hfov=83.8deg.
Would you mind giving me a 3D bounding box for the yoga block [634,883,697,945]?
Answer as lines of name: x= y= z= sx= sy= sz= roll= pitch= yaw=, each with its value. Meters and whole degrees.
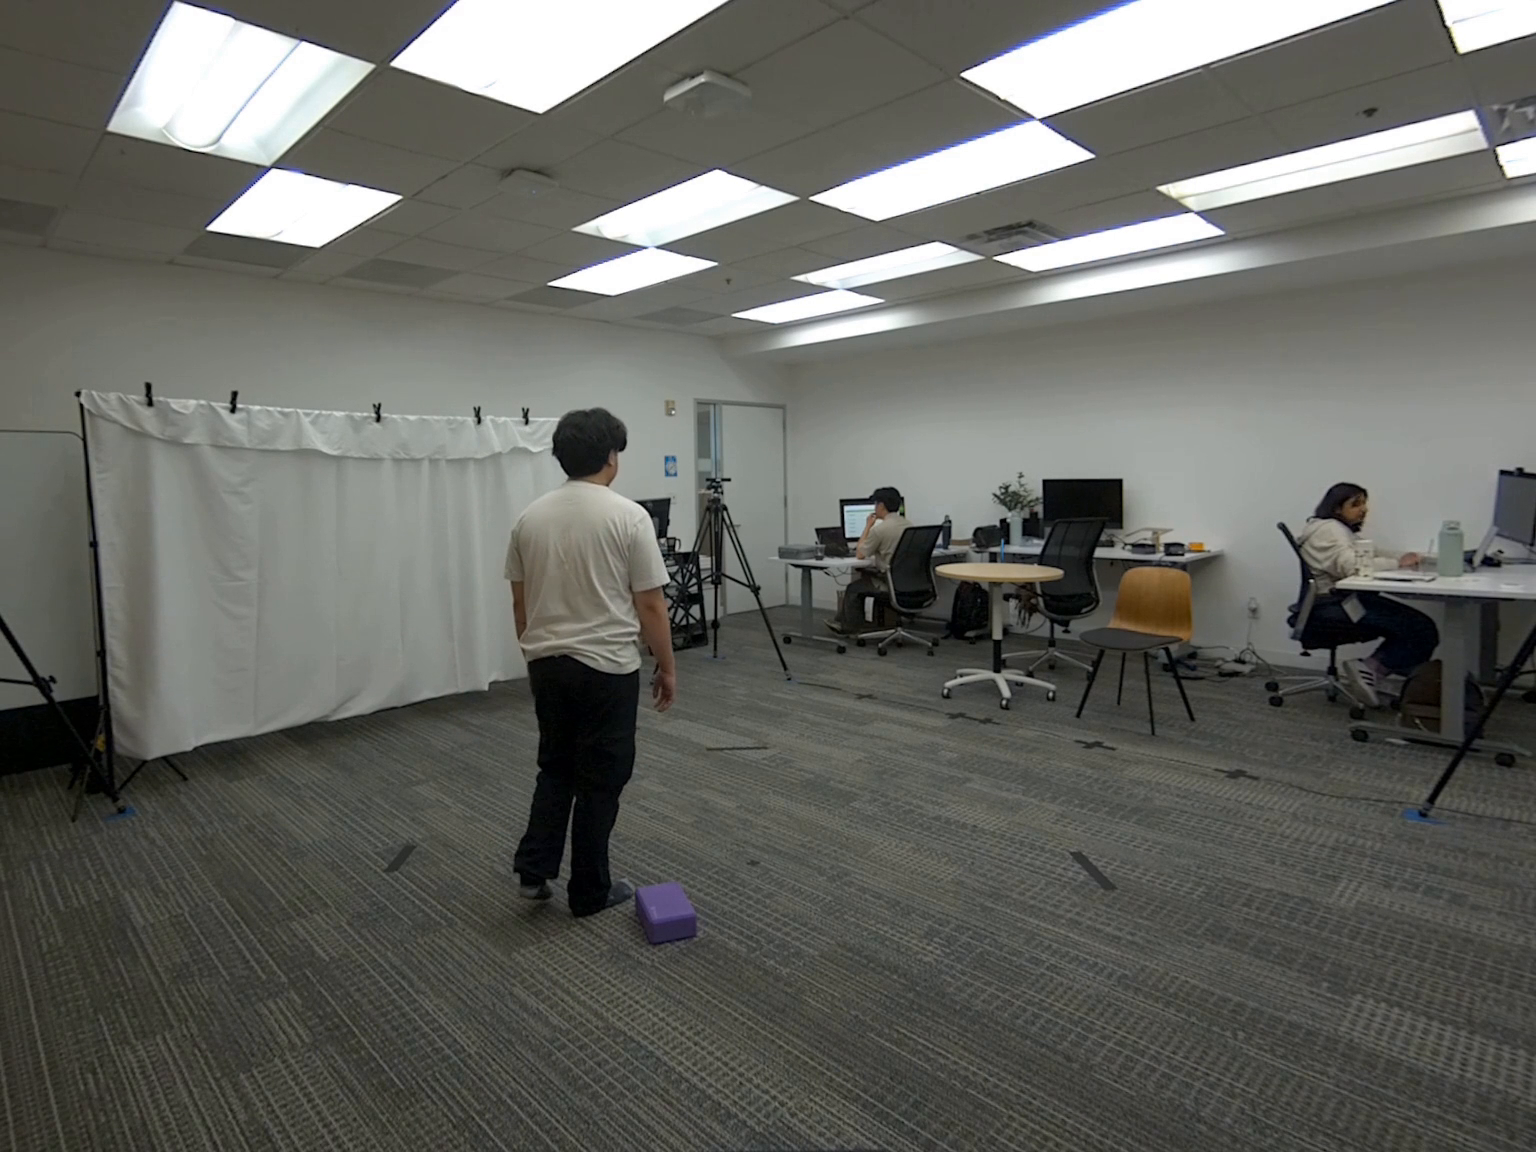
yoga block: x=-0.320 y=1.053 z=2.690 sx=0.146 sy=0.076 sz=0.234 roll=-3 pitch=7 yaw=-20
